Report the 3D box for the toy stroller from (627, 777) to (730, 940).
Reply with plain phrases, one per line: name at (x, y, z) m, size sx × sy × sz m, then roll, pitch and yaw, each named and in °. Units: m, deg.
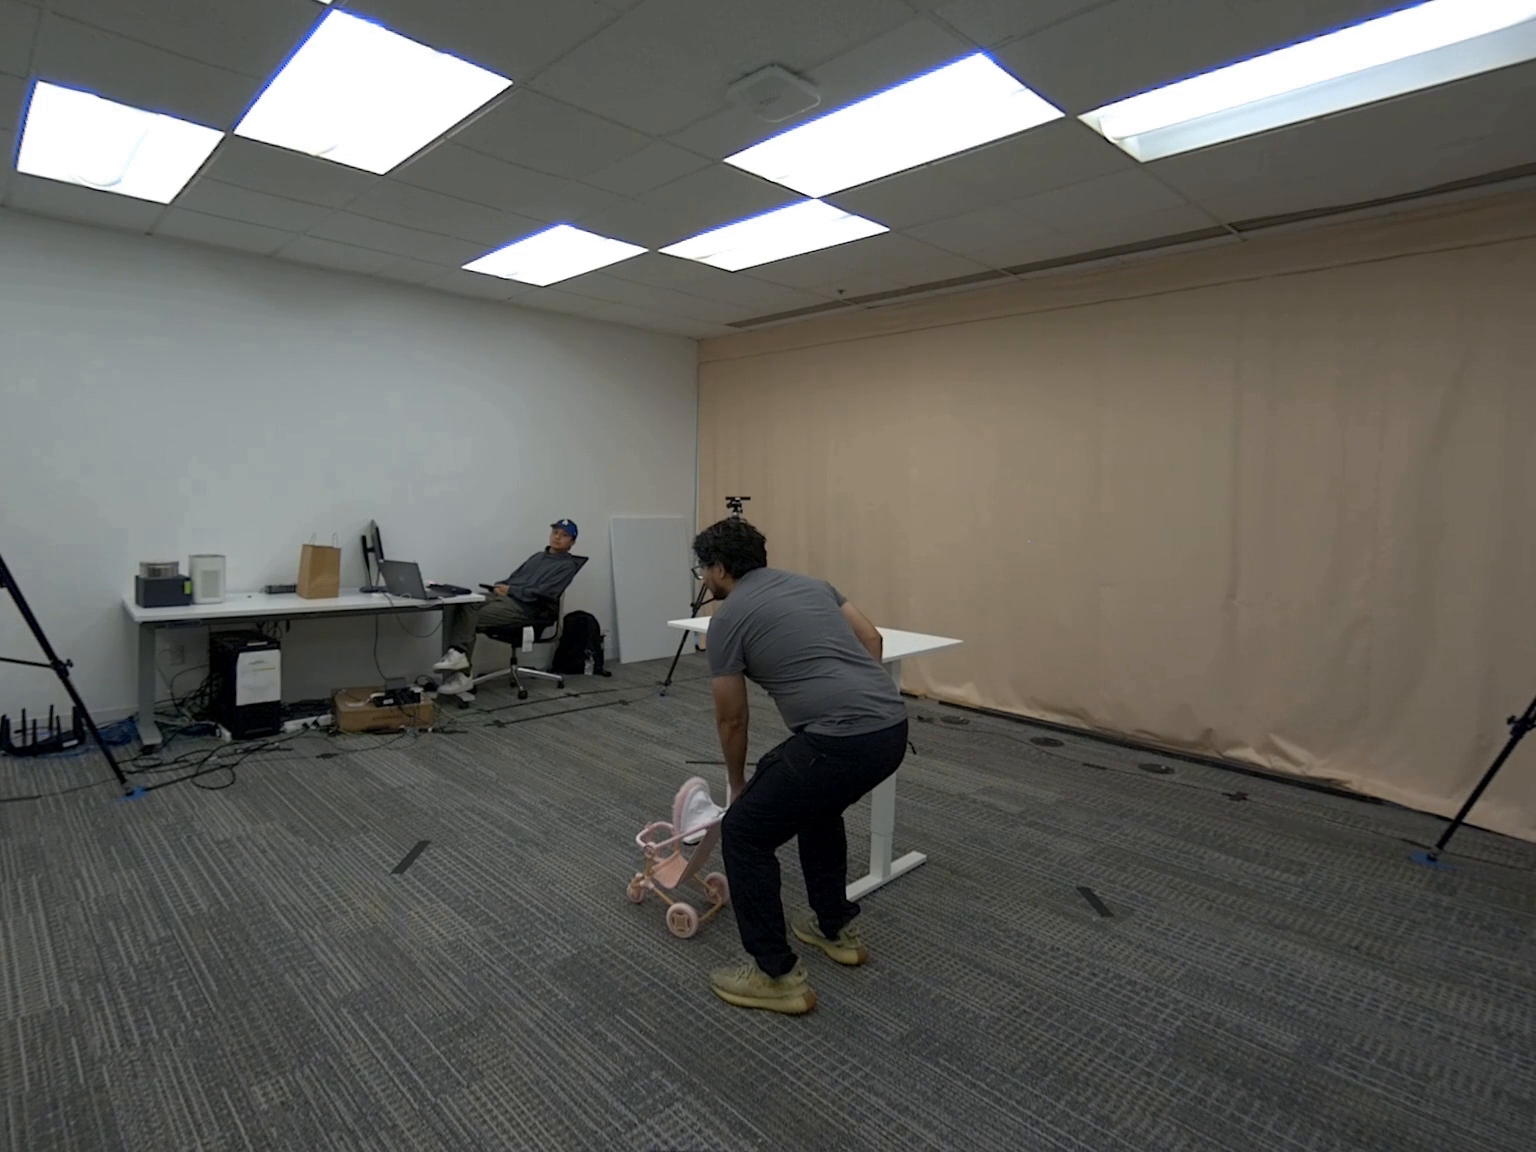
toy stroller at (-0.280, 0.910, 2.792) m, size 0.350 × 0.532 × 0.276 m, roll 22°, pitch 12°, yaw 28°
